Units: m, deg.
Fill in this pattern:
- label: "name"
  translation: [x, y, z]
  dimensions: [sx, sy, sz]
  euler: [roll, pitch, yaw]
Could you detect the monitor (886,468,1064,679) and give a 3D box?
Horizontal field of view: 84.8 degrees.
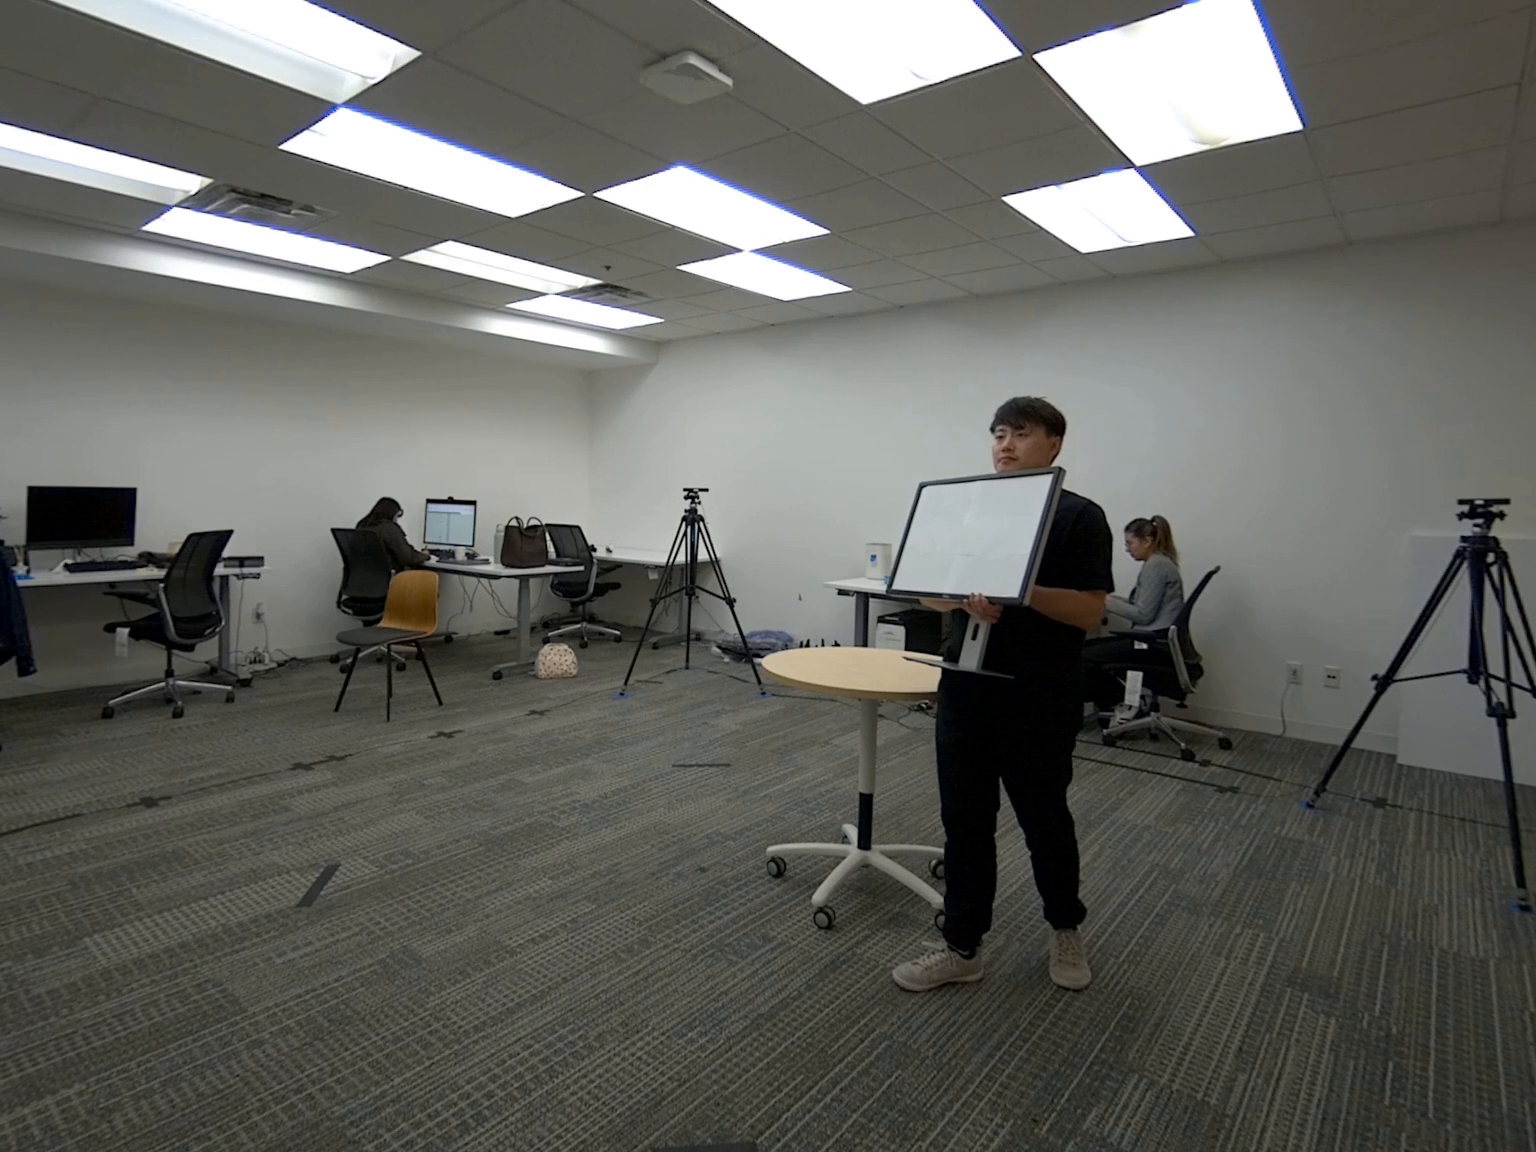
- label: "monitor"
  translation: [0.547, -0.011, 2.335]
  dimensions: [0.182, 0.524, 0.553]
  euler: [10, -4, -28]
